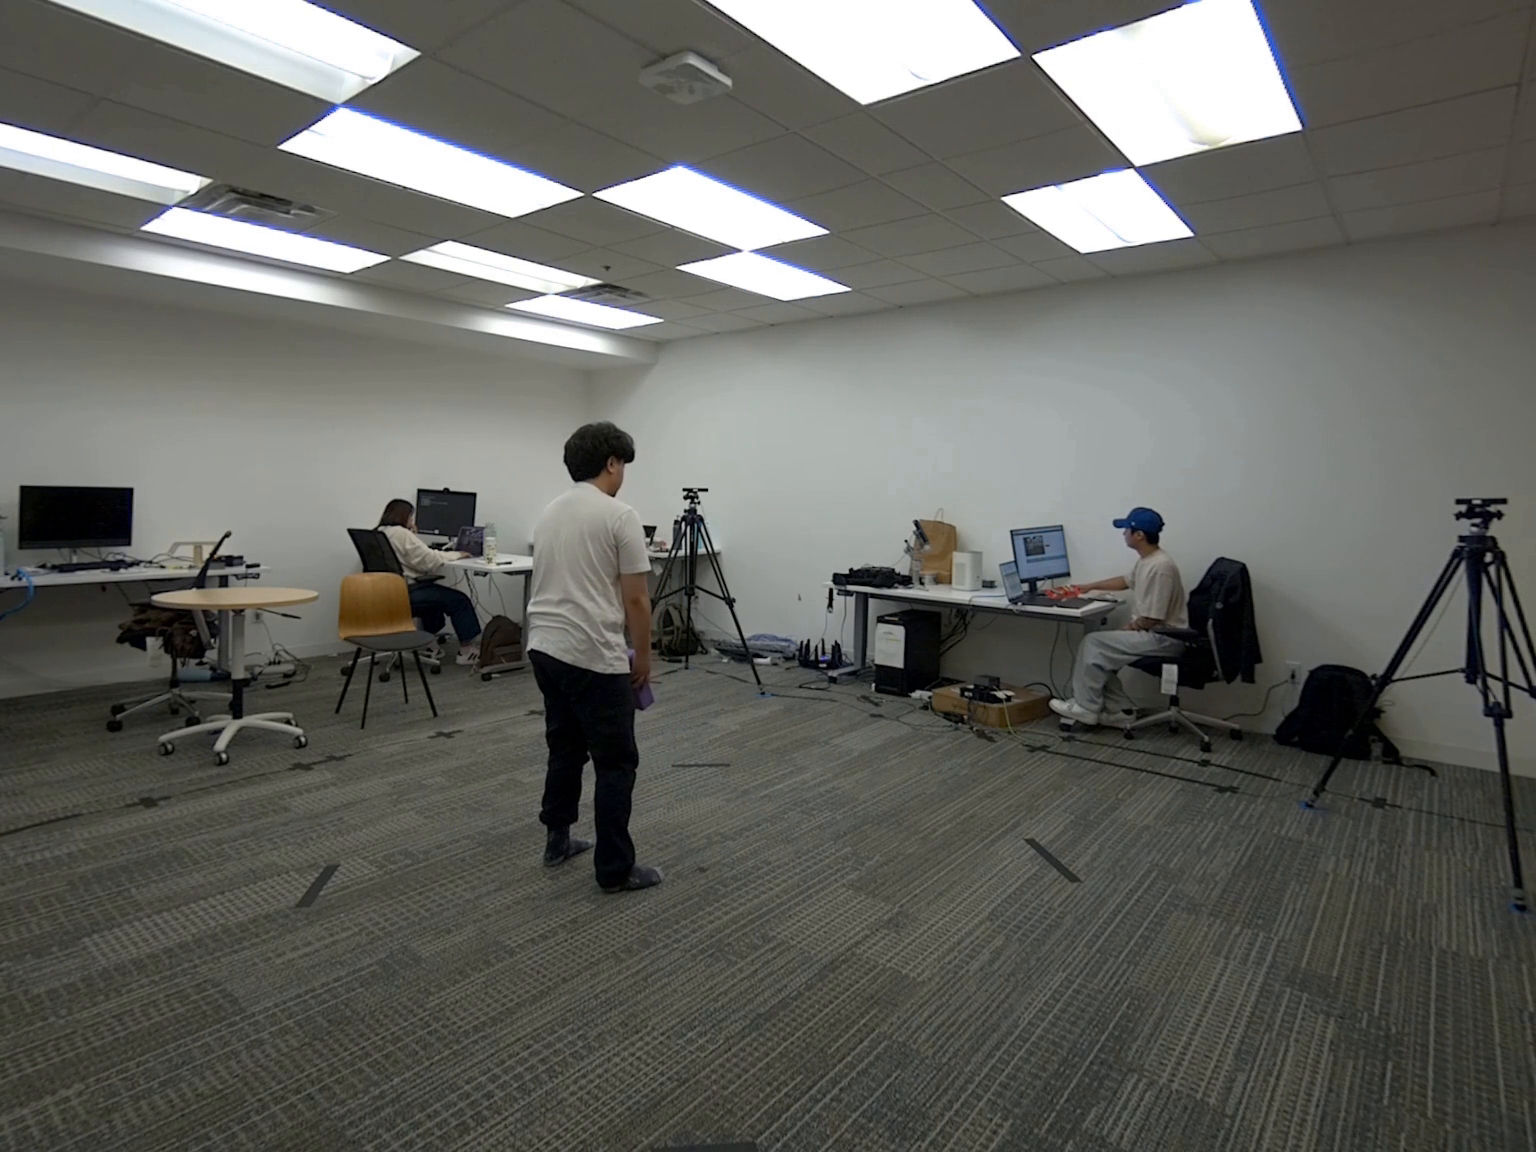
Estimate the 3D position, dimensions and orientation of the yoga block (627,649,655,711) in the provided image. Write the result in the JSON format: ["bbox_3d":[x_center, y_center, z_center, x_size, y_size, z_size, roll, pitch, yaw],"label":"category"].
[{"bbox_3d":[-0.539,0.385,3.225,0.154,0.225,0.075,3,22,42],"label":"yoga block"}]
